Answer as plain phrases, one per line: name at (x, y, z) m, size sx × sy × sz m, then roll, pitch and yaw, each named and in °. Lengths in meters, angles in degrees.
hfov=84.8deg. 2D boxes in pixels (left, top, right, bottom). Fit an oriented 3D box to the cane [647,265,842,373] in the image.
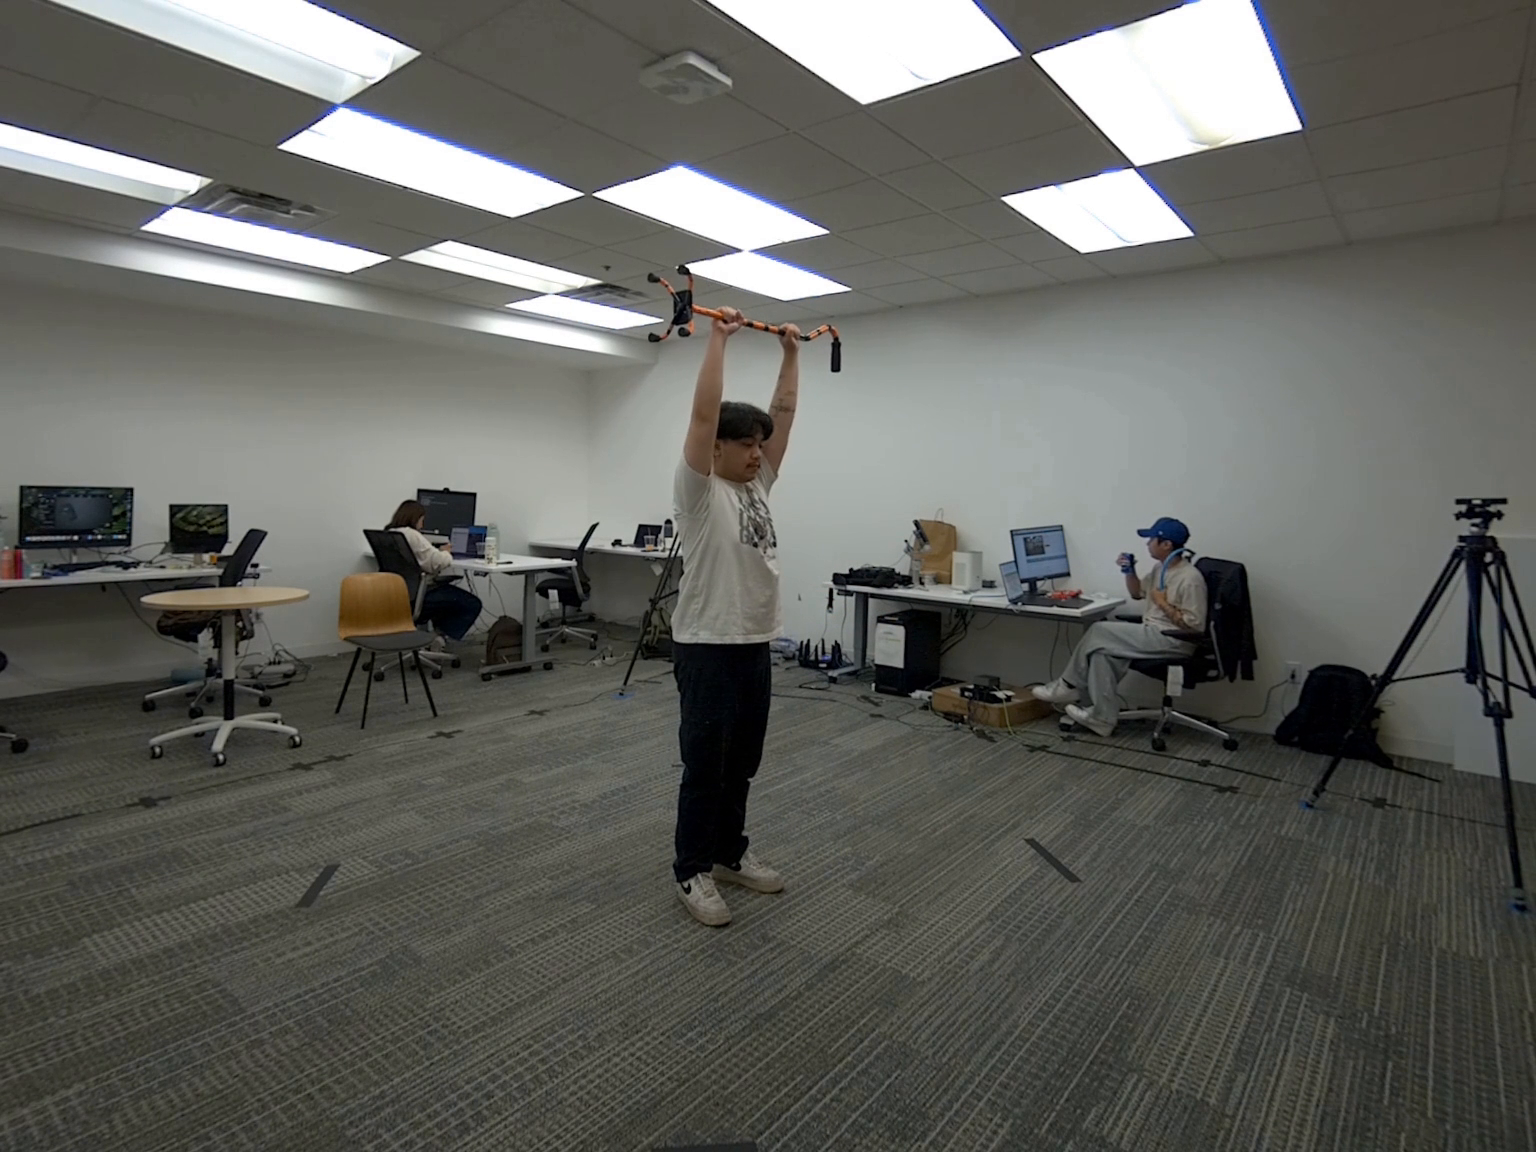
cane at (-0.027, -0.826, 2.816) m, size 0.156 × 0.206 × 0.882 m, roll 4°, pitch 6°, yaw 38°
